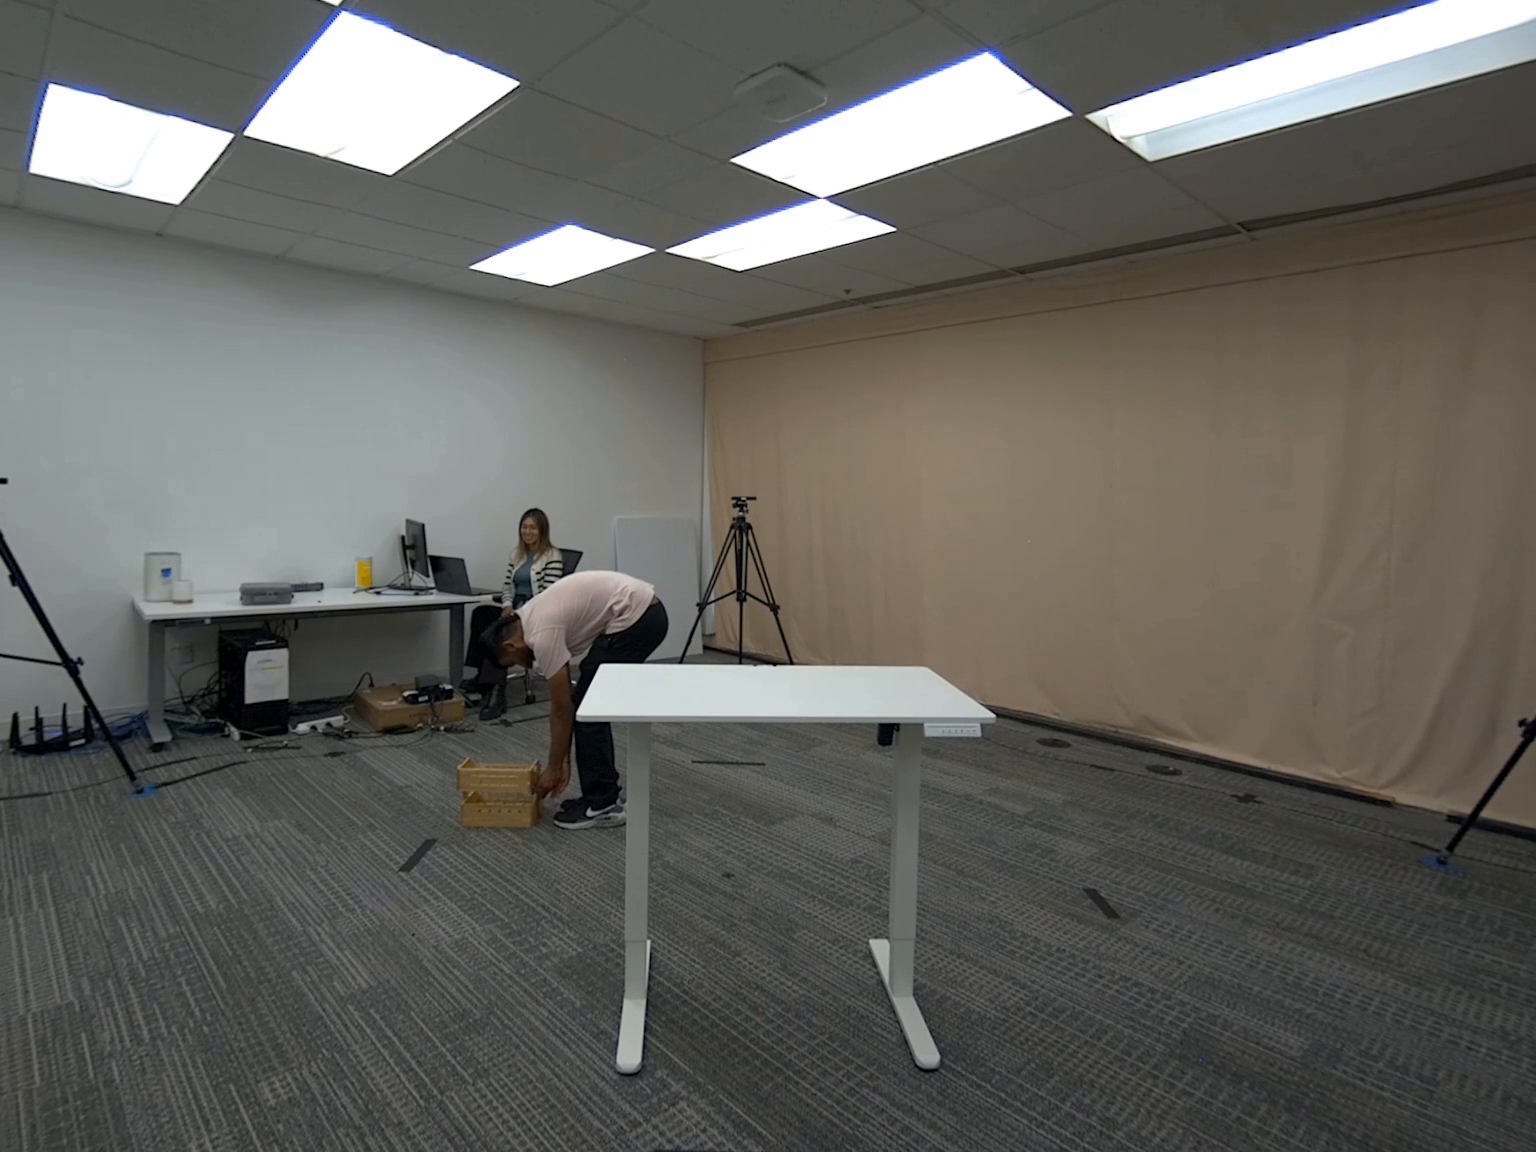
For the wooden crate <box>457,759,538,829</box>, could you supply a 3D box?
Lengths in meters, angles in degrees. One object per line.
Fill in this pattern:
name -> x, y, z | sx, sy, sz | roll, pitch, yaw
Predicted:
wooden crate -> -1.142, 0.905, 3.601 | 0.324, 0.272, 0.303 | 2, 5, -2
